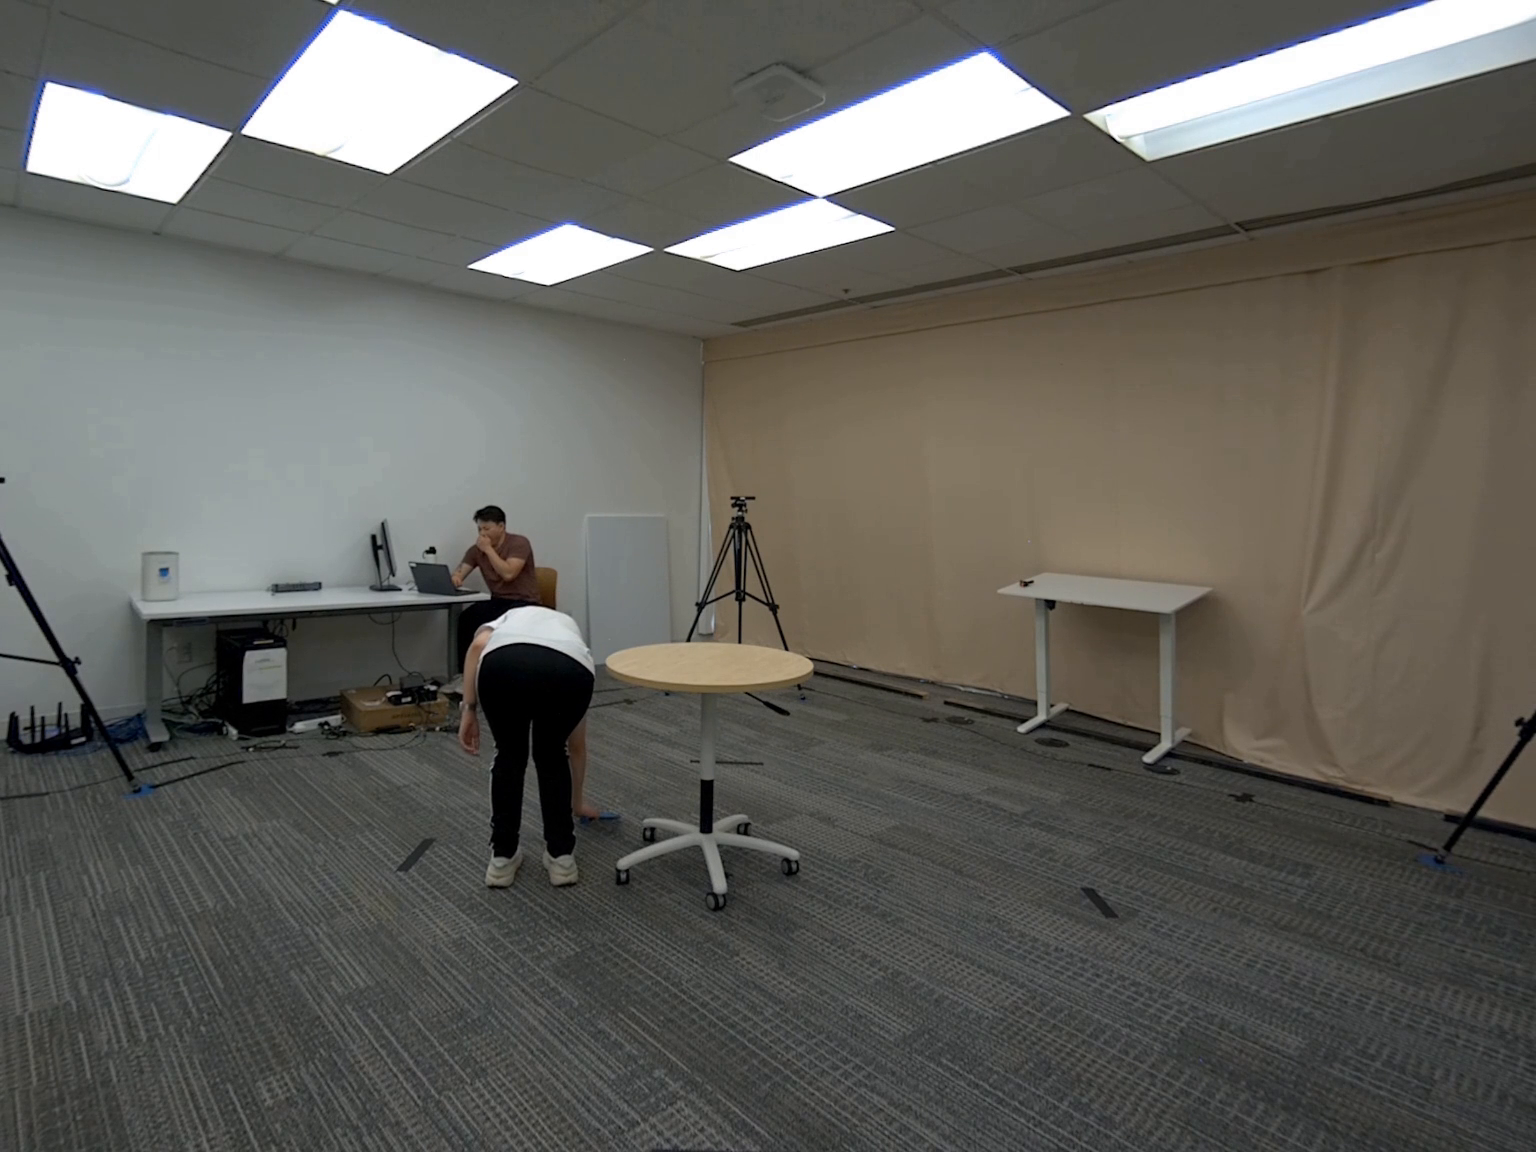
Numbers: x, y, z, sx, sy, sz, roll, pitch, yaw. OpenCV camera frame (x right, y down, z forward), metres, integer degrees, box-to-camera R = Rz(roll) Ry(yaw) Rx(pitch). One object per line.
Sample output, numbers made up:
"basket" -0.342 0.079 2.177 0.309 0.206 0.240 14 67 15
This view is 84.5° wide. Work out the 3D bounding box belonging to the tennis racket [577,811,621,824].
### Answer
"tennis racket" -0.738 0.990 3.472 0.214 0.032 0.428 4 -12 1
